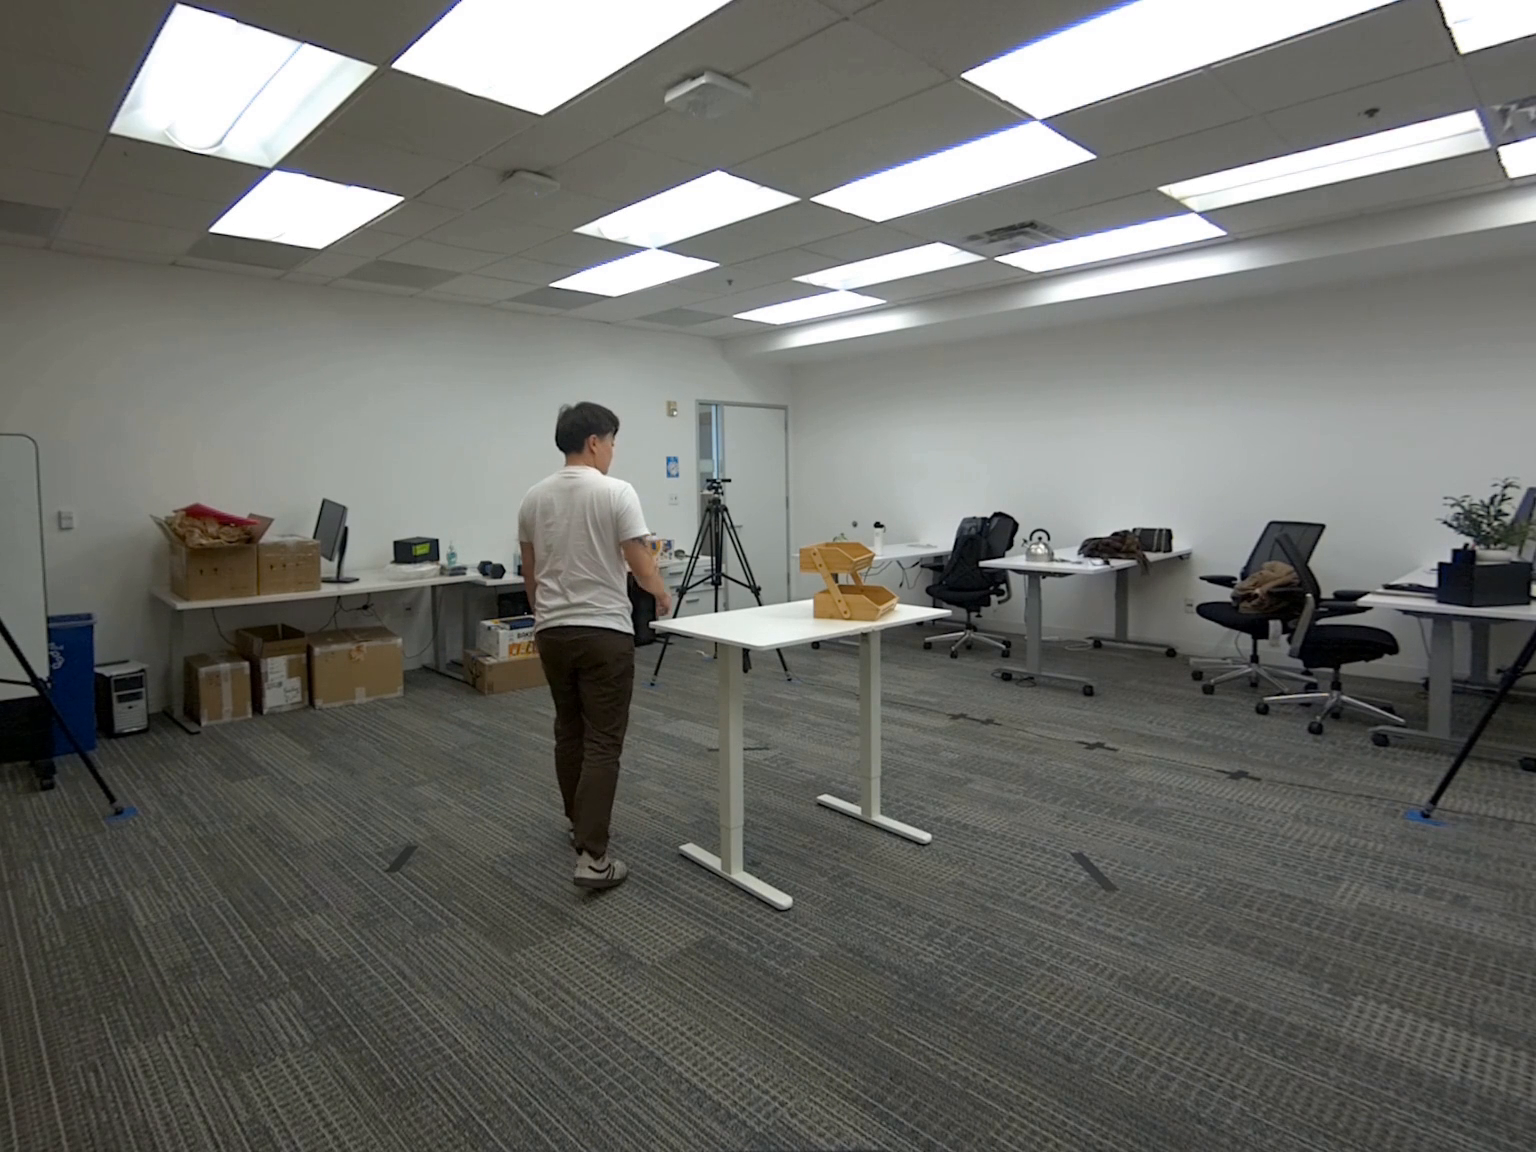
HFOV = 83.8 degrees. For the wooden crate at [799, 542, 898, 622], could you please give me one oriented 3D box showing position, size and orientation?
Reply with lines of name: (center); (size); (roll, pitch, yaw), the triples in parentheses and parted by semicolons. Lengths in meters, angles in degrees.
wooden crate: (0.316, 0.008, 3.236); (0.308, 0.272, 0.319); (0, 5, 21)
